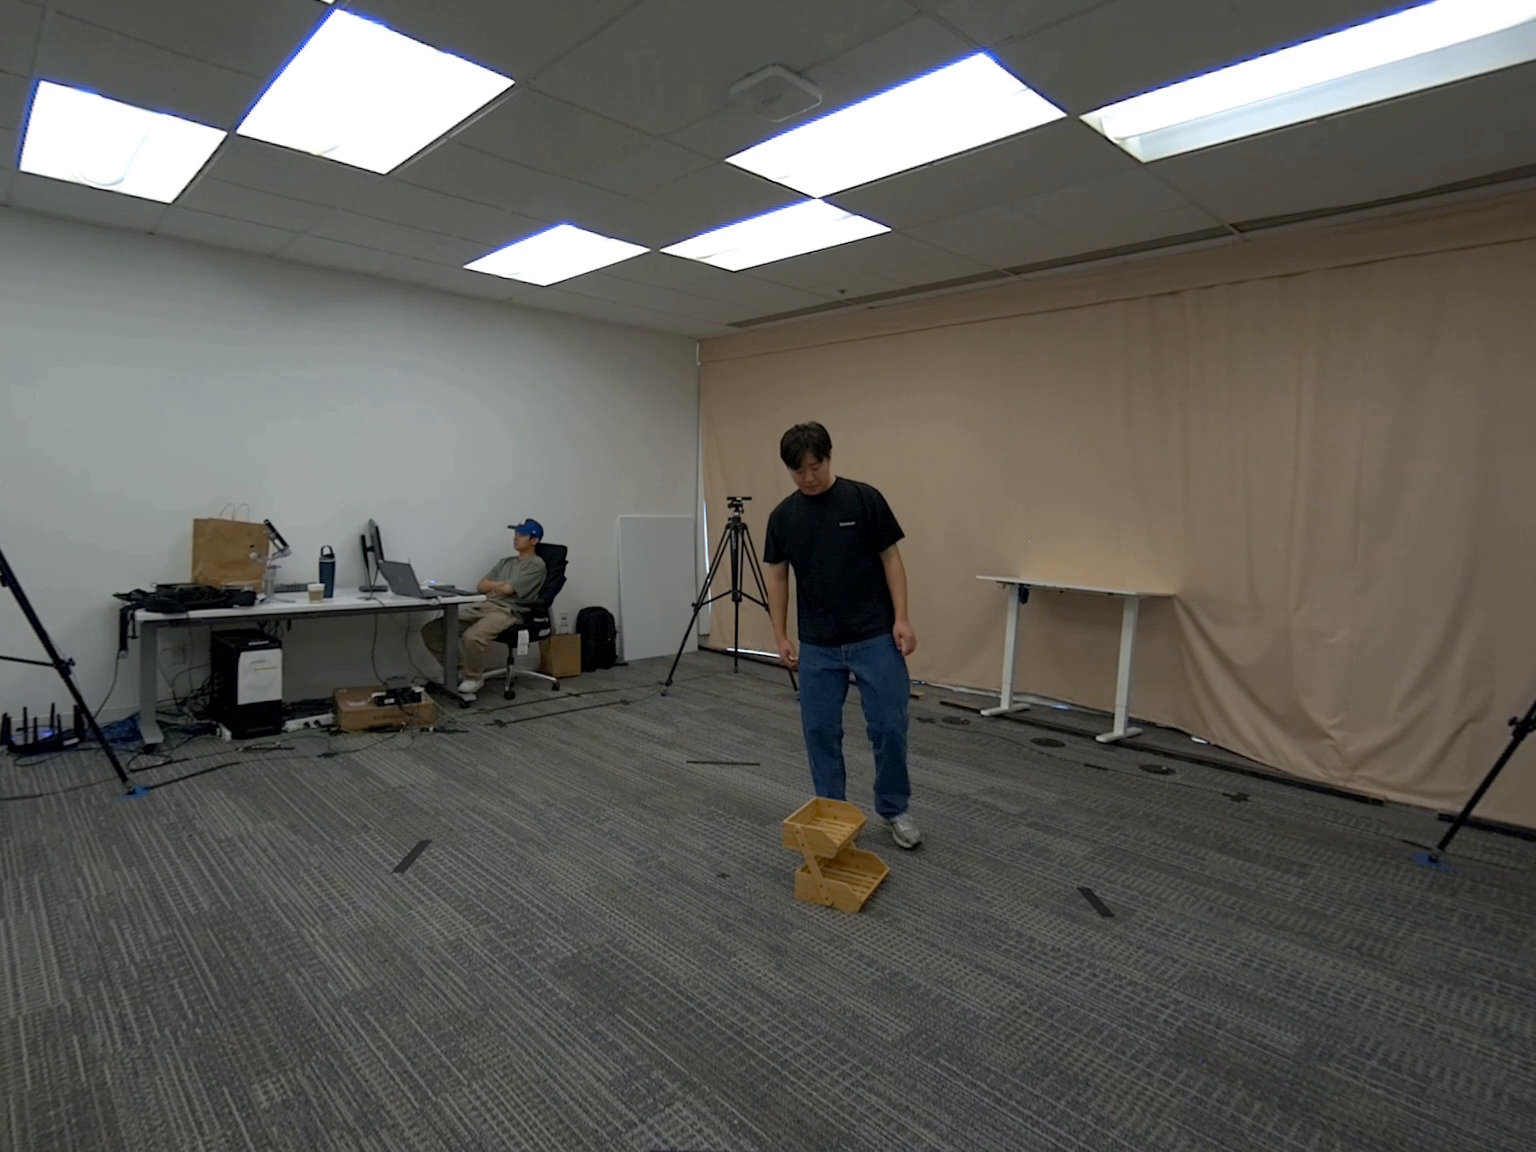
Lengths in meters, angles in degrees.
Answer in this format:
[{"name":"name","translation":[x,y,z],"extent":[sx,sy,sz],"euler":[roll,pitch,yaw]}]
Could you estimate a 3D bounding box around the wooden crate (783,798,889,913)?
[{"name":"wooden crate","translation":[0.249,0.989,3.023],"extent":[0.308,0.273,0.319],"euler":[3,4,27]}]
